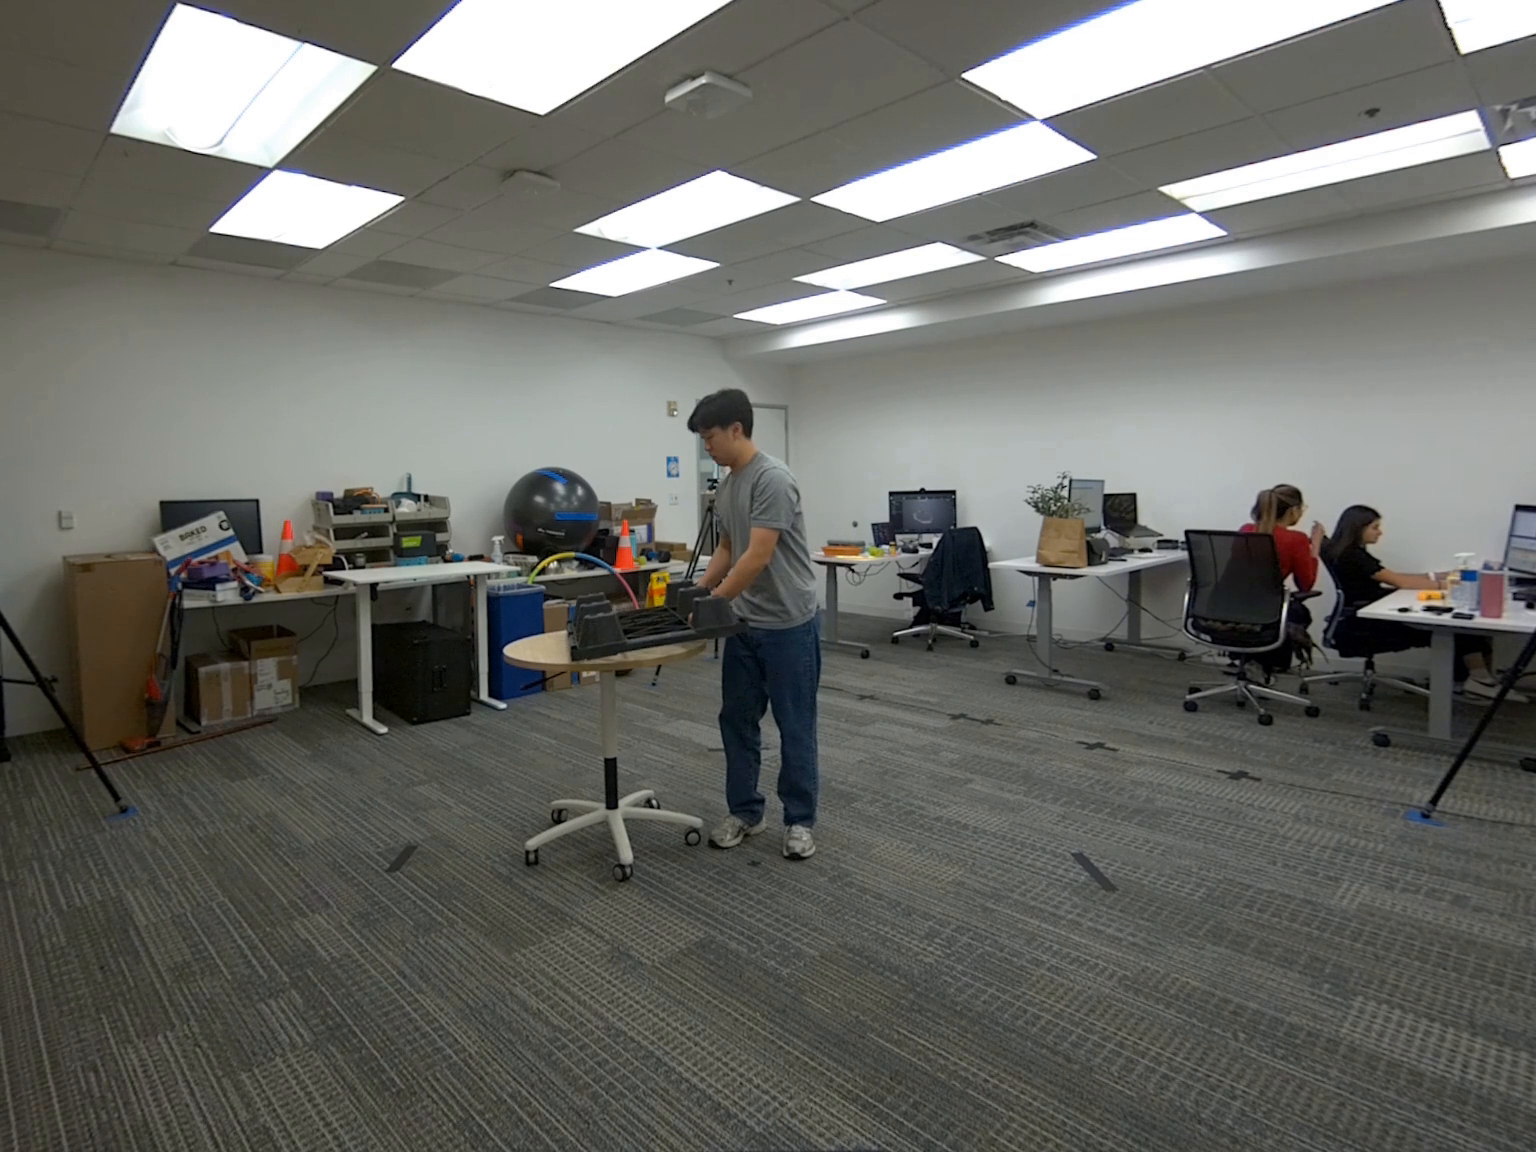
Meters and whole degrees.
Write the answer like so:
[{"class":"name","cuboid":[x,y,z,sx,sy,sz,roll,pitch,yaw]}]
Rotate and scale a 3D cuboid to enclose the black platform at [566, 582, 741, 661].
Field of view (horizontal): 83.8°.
[{"class":"black platform","cuboid":[-0.442,0.138,3.181,0.599,0.142,0.818,-9,6,-13]}]
